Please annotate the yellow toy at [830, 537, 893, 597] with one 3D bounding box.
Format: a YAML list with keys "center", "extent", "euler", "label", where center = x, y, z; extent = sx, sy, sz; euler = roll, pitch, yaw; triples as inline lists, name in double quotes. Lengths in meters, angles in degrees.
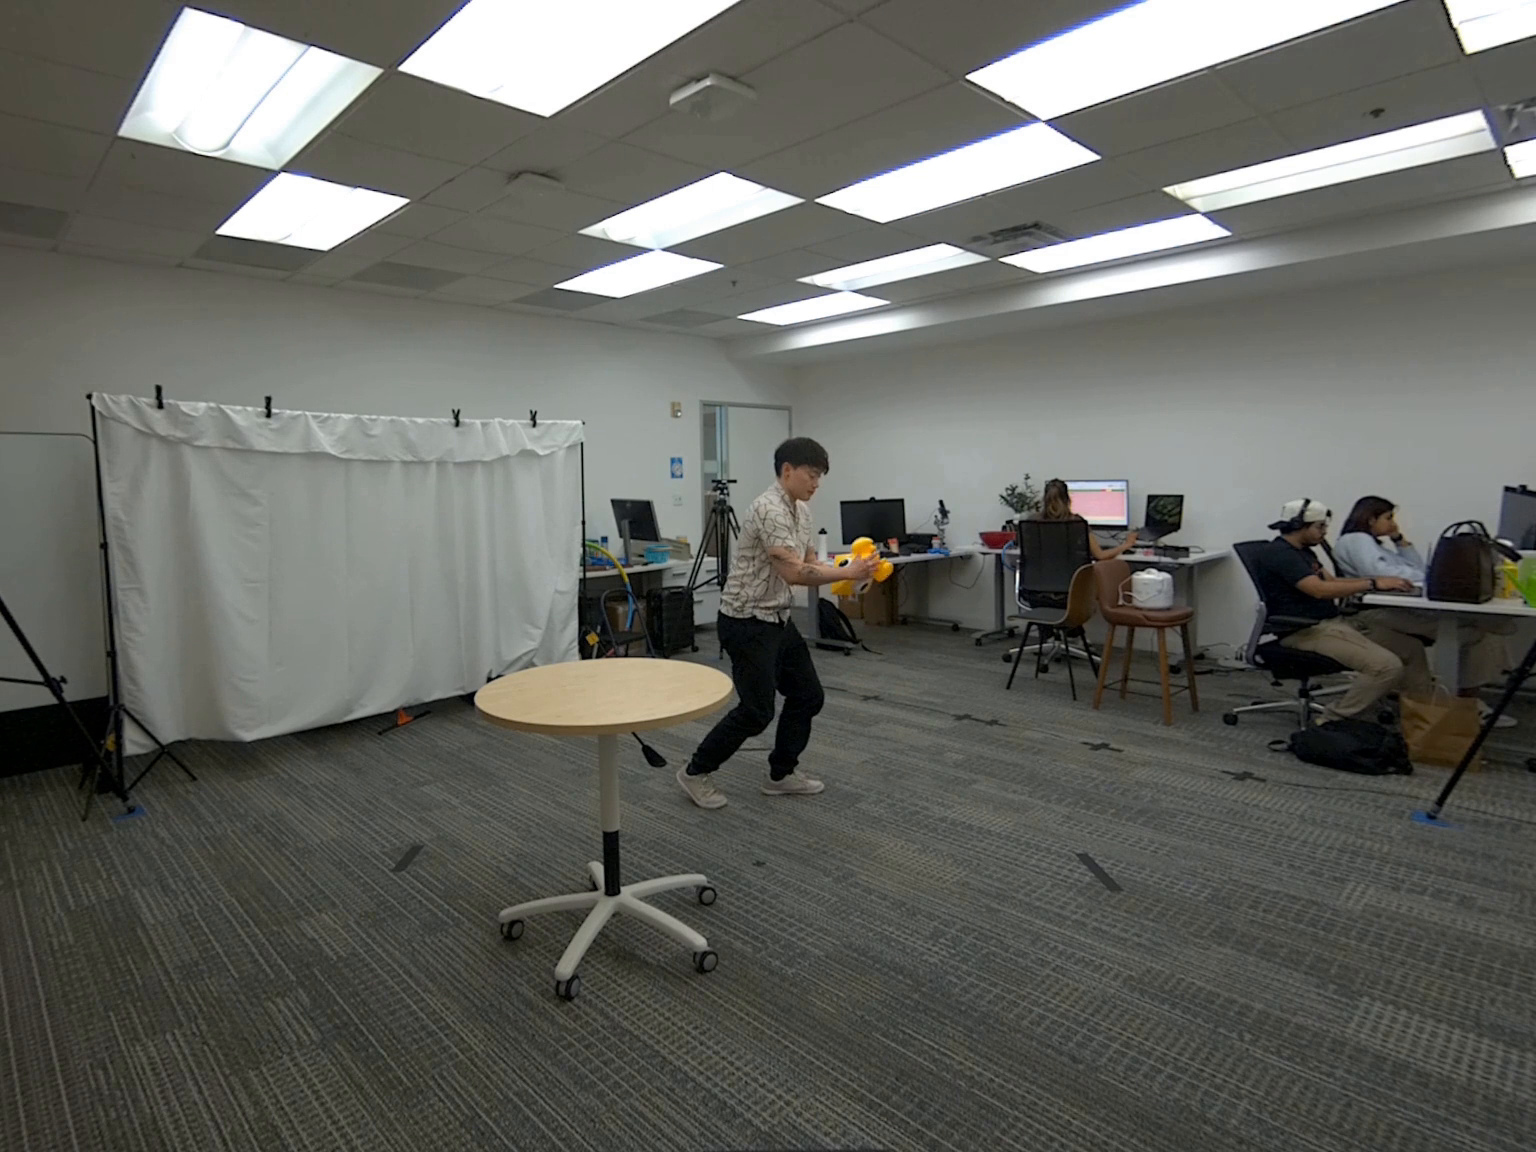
- center: [0.361, -0.007, 3.557]
  extent: [0.230, 0.205, 0.194]
  euler: [-40, 1, -24]
  label: "yellow toy"
